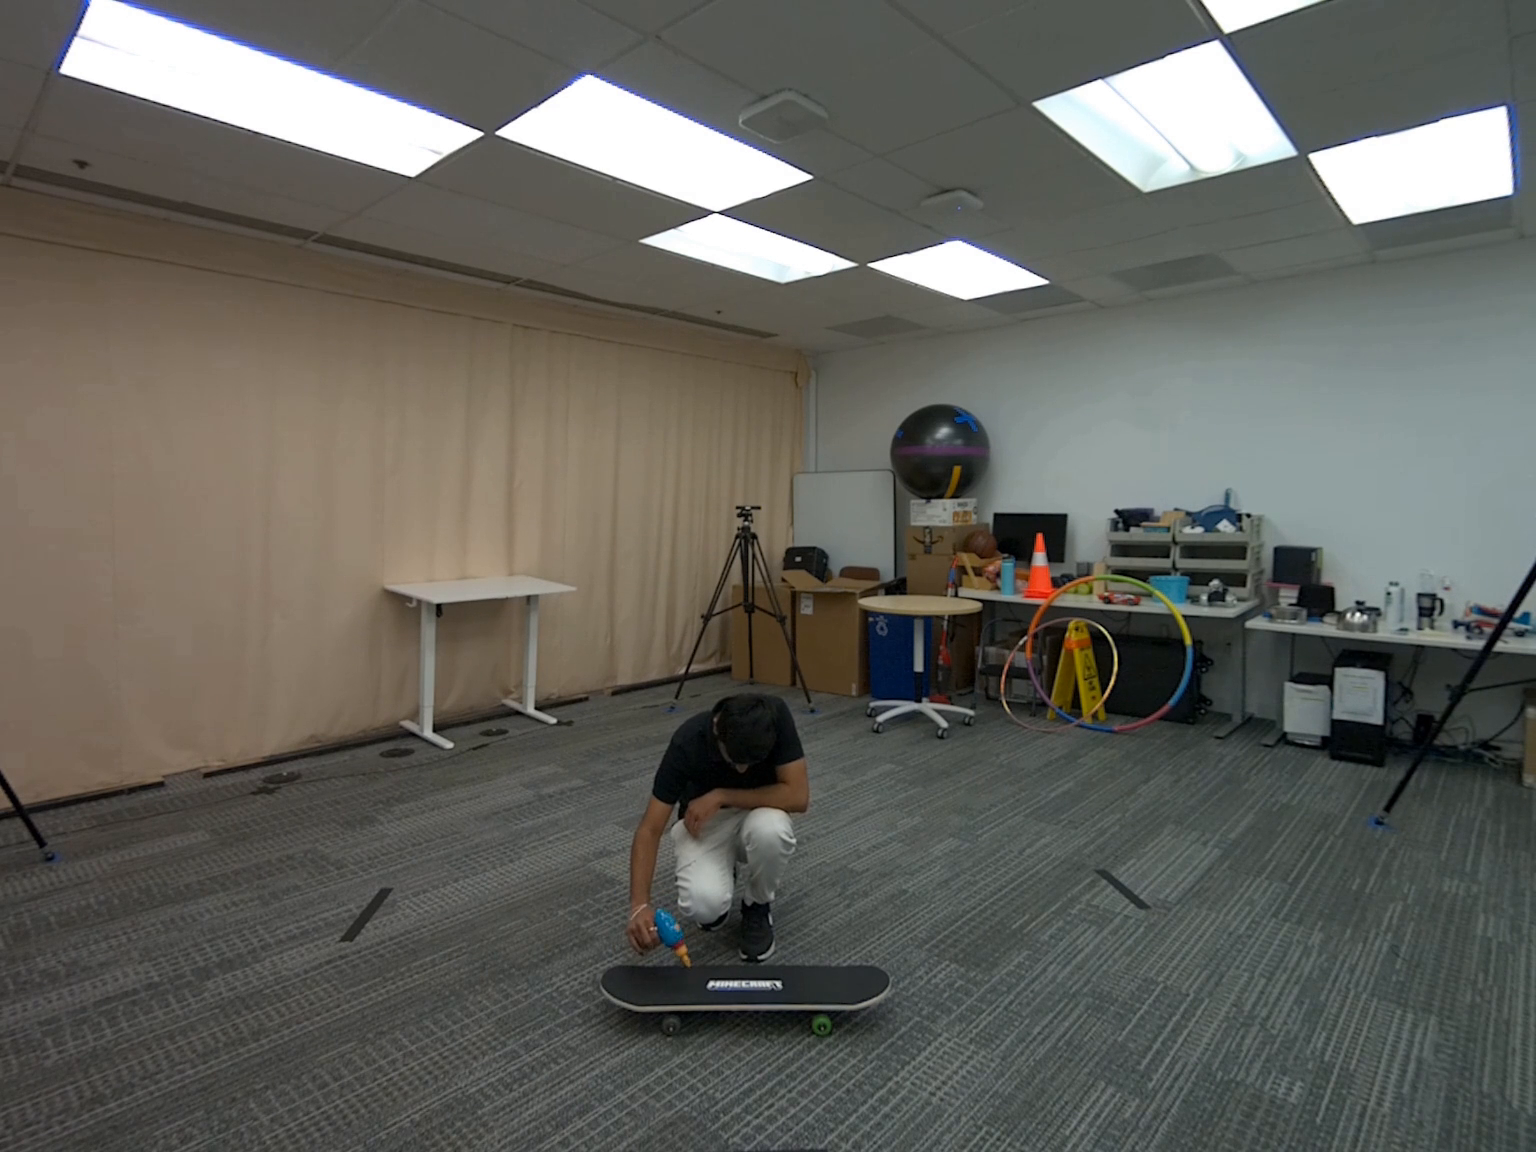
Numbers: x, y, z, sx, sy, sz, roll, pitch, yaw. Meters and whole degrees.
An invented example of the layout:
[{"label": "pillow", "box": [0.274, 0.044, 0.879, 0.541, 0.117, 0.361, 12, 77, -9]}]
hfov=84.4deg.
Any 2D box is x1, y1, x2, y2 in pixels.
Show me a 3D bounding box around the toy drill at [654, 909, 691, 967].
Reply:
[{"label": "toy drill", "box": [-0.285, 1.008, 2.336, 0.147, 0.173, 0.059, -43, -17, 30]}]
